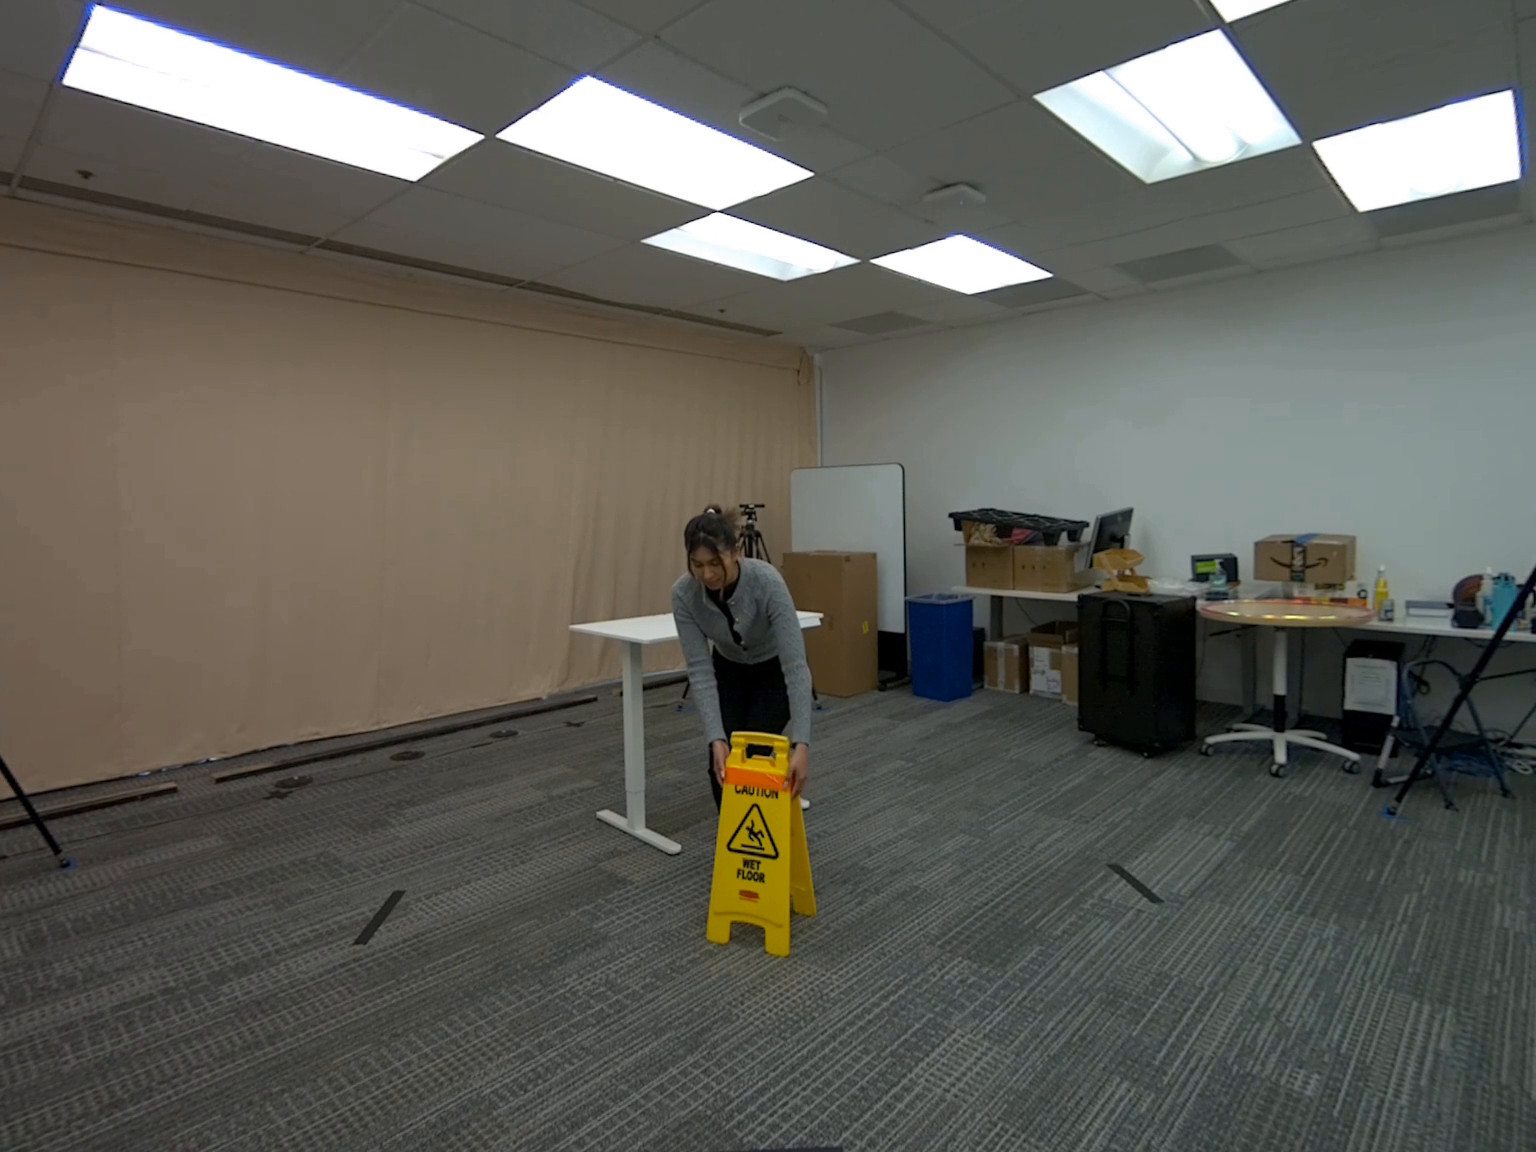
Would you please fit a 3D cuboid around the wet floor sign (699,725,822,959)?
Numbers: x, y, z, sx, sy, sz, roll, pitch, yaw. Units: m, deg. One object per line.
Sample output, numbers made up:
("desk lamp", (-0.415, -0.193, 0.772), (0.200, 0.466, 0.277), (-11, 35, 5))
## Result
("wet floor sign", (-0.020, 0.830, 2.756), (0.289, 0.645, 0.283), (-1, 3, 23))
